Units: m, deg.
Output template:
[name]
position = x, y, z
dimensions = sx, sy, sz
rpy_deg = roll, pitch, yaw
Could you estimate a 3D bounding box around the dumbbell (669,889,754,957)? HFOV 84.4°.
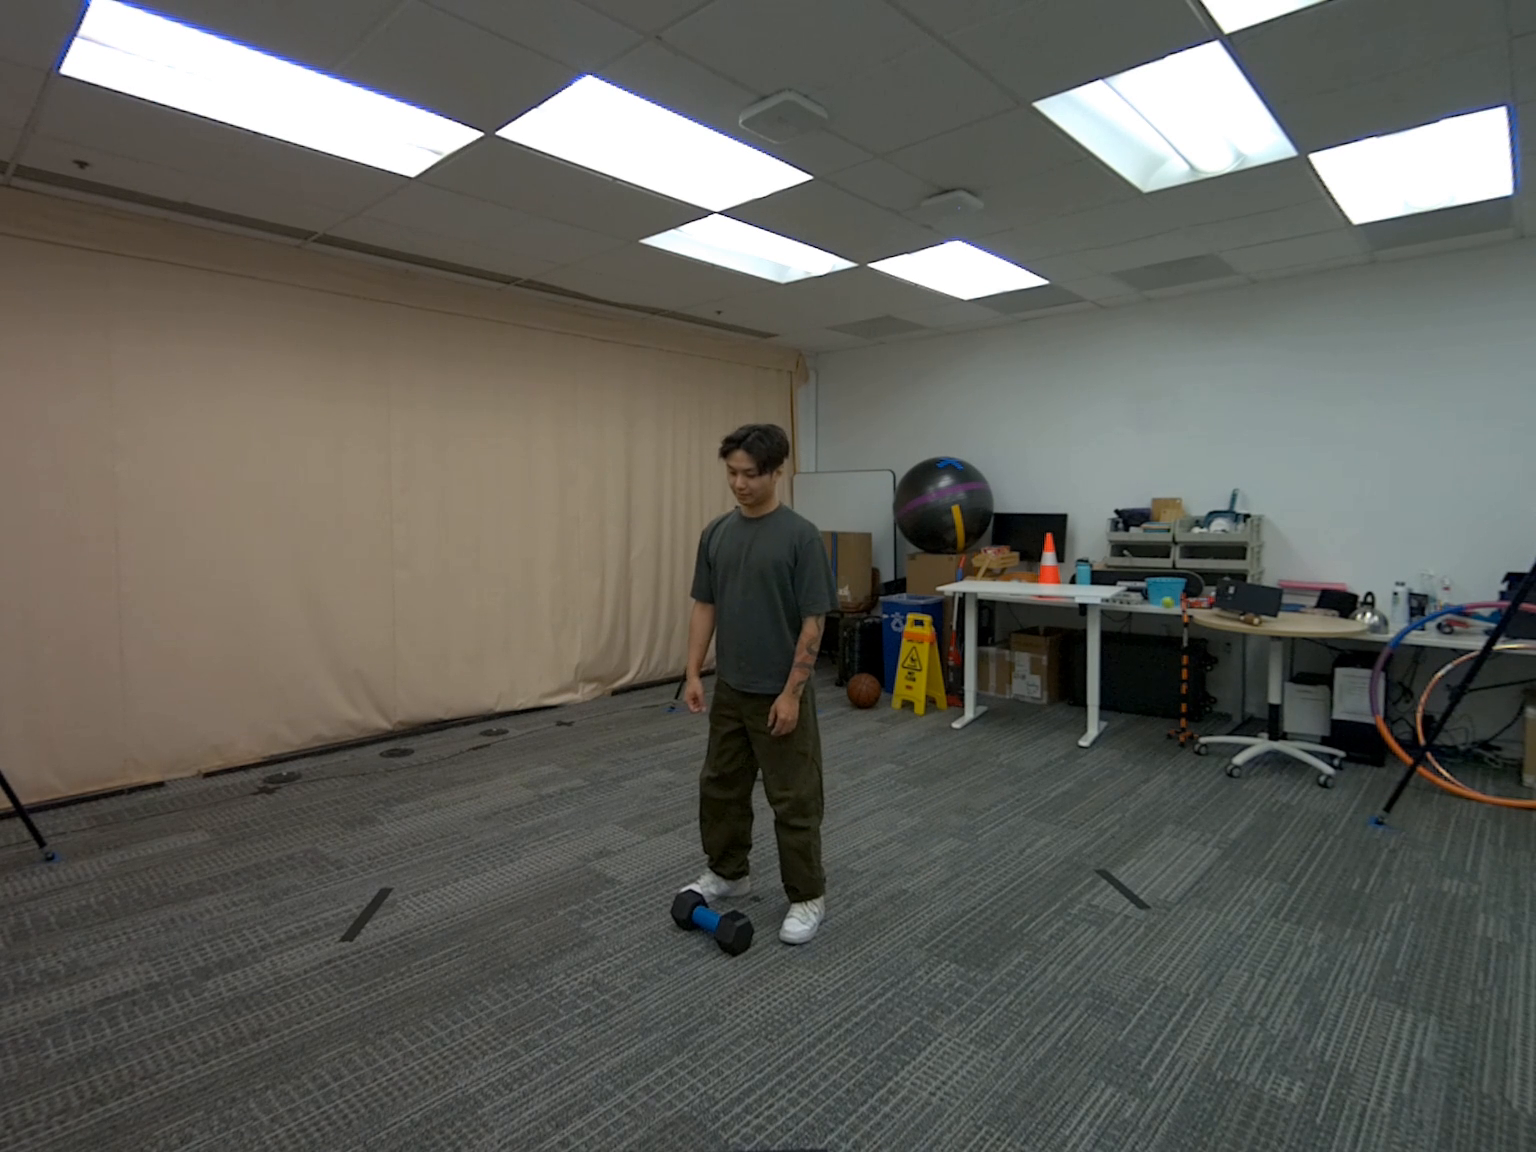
[dumbbell]
position = -0.184, 1.108, 2.719
dimensions = 0.303, 0.120, 0.107
rpy_deg = 4, 37, 46
